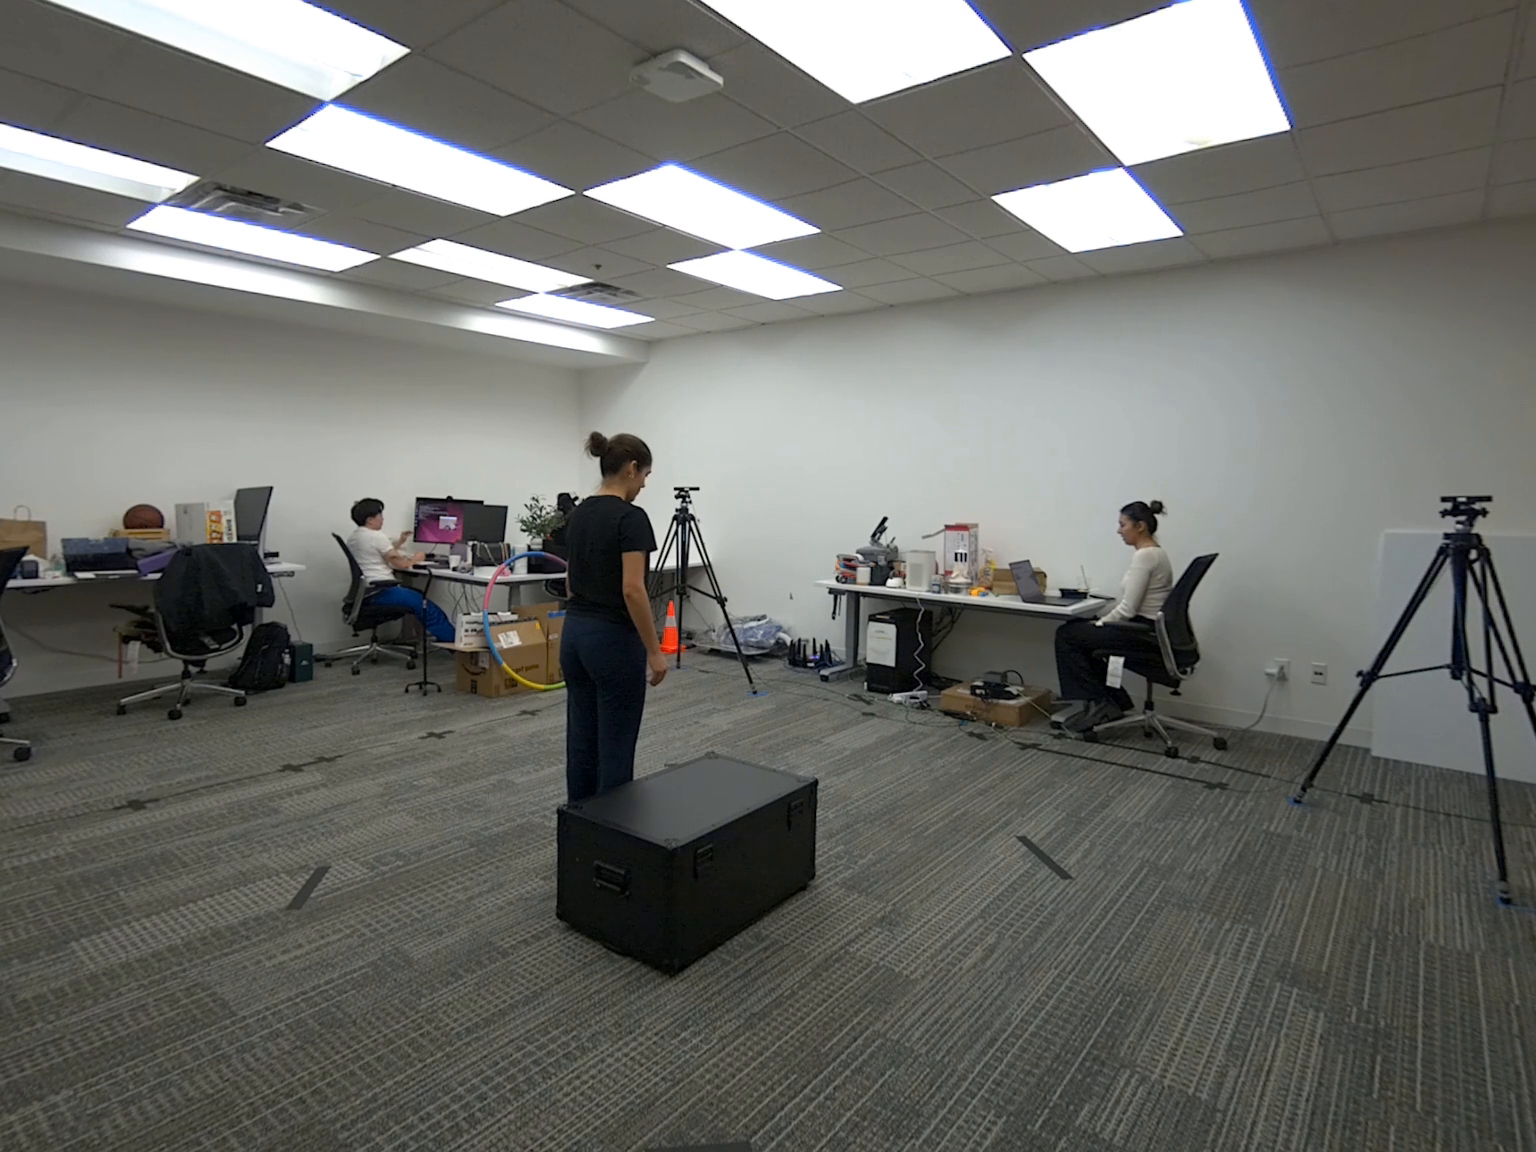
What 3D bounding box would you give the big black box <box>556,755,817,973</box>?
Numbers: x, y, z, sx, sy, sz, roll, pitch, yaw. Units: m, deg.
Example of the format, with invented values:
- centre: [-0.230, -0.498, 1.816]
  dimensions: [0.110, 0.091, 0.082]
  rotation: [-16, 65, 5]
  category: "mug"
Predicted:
- centre: [-0.211, 0.900, 2.865]
  dimensions: [0.538, 0.395, 0.837]
  rotation: [4, 6, 36]
  category: "big black box"
